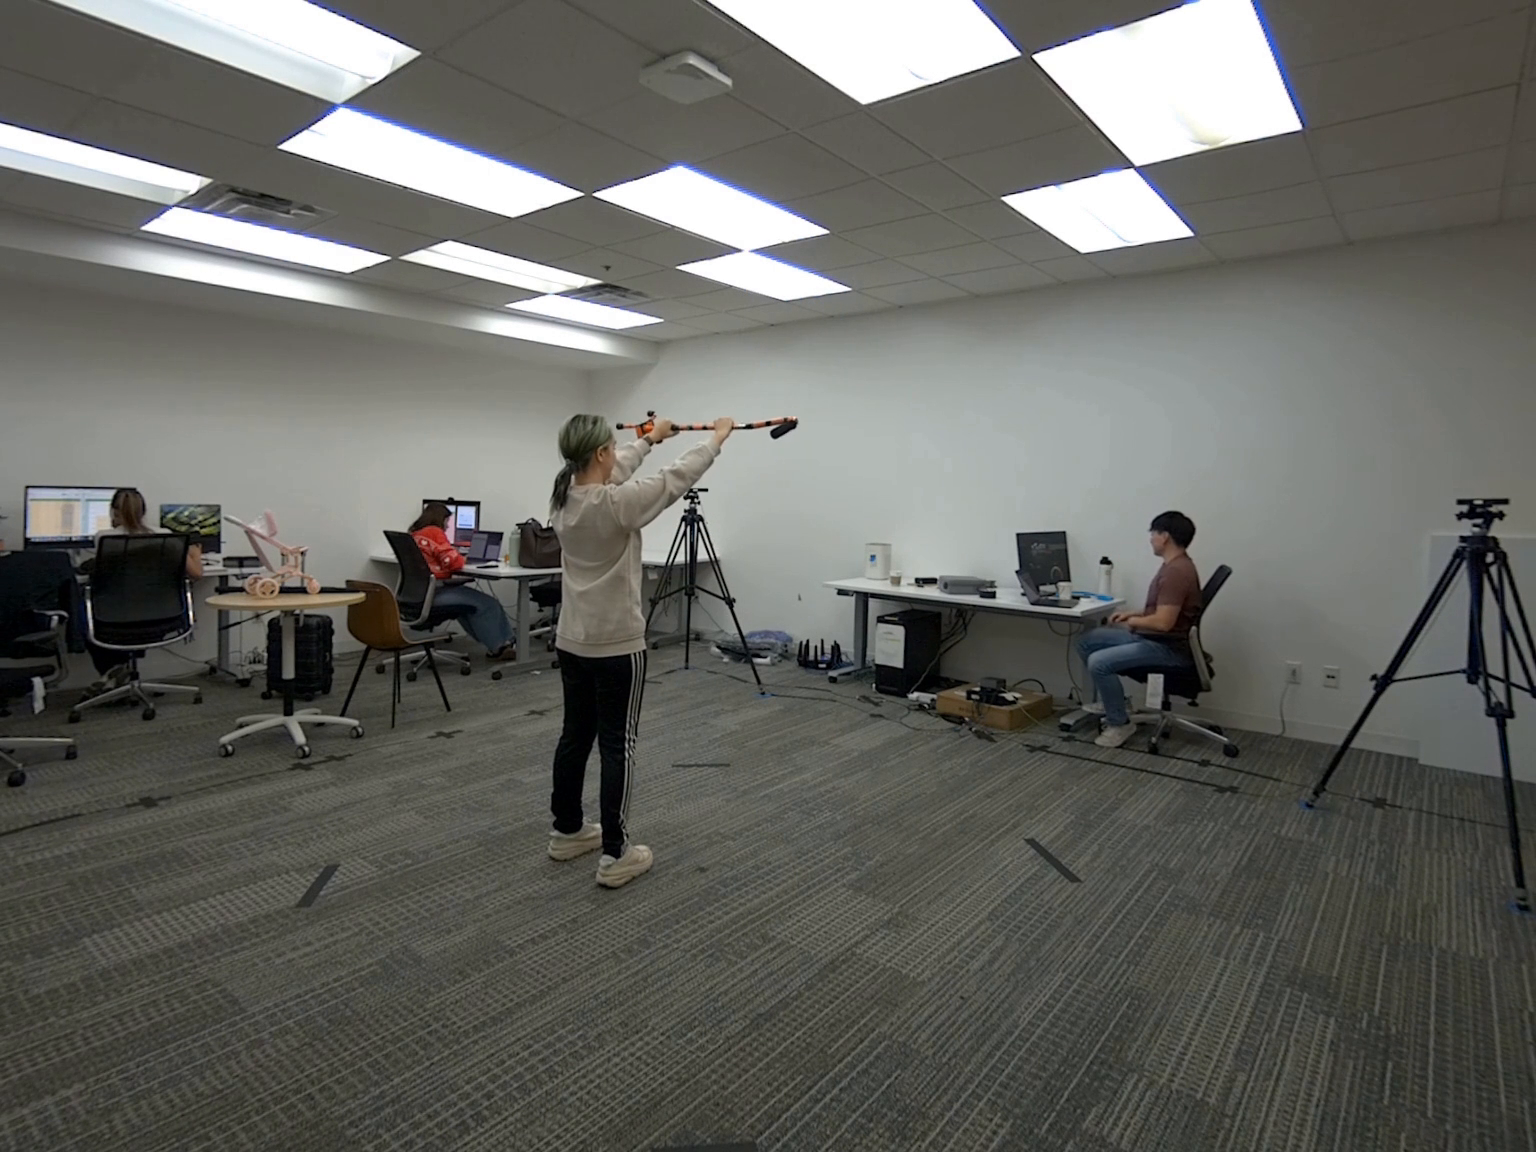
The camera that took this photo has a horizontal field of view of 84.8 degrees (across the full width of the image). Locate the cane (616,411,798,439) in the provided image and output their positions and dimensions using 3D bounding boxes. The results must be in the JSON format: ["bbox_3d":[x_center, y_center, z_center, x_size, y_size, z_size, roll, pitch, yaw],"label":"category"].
[{"bbox_3d":[-0.245,-0.566,3.319,0.940,0.148,0.204,8,31,46],"label":"cane"}]
